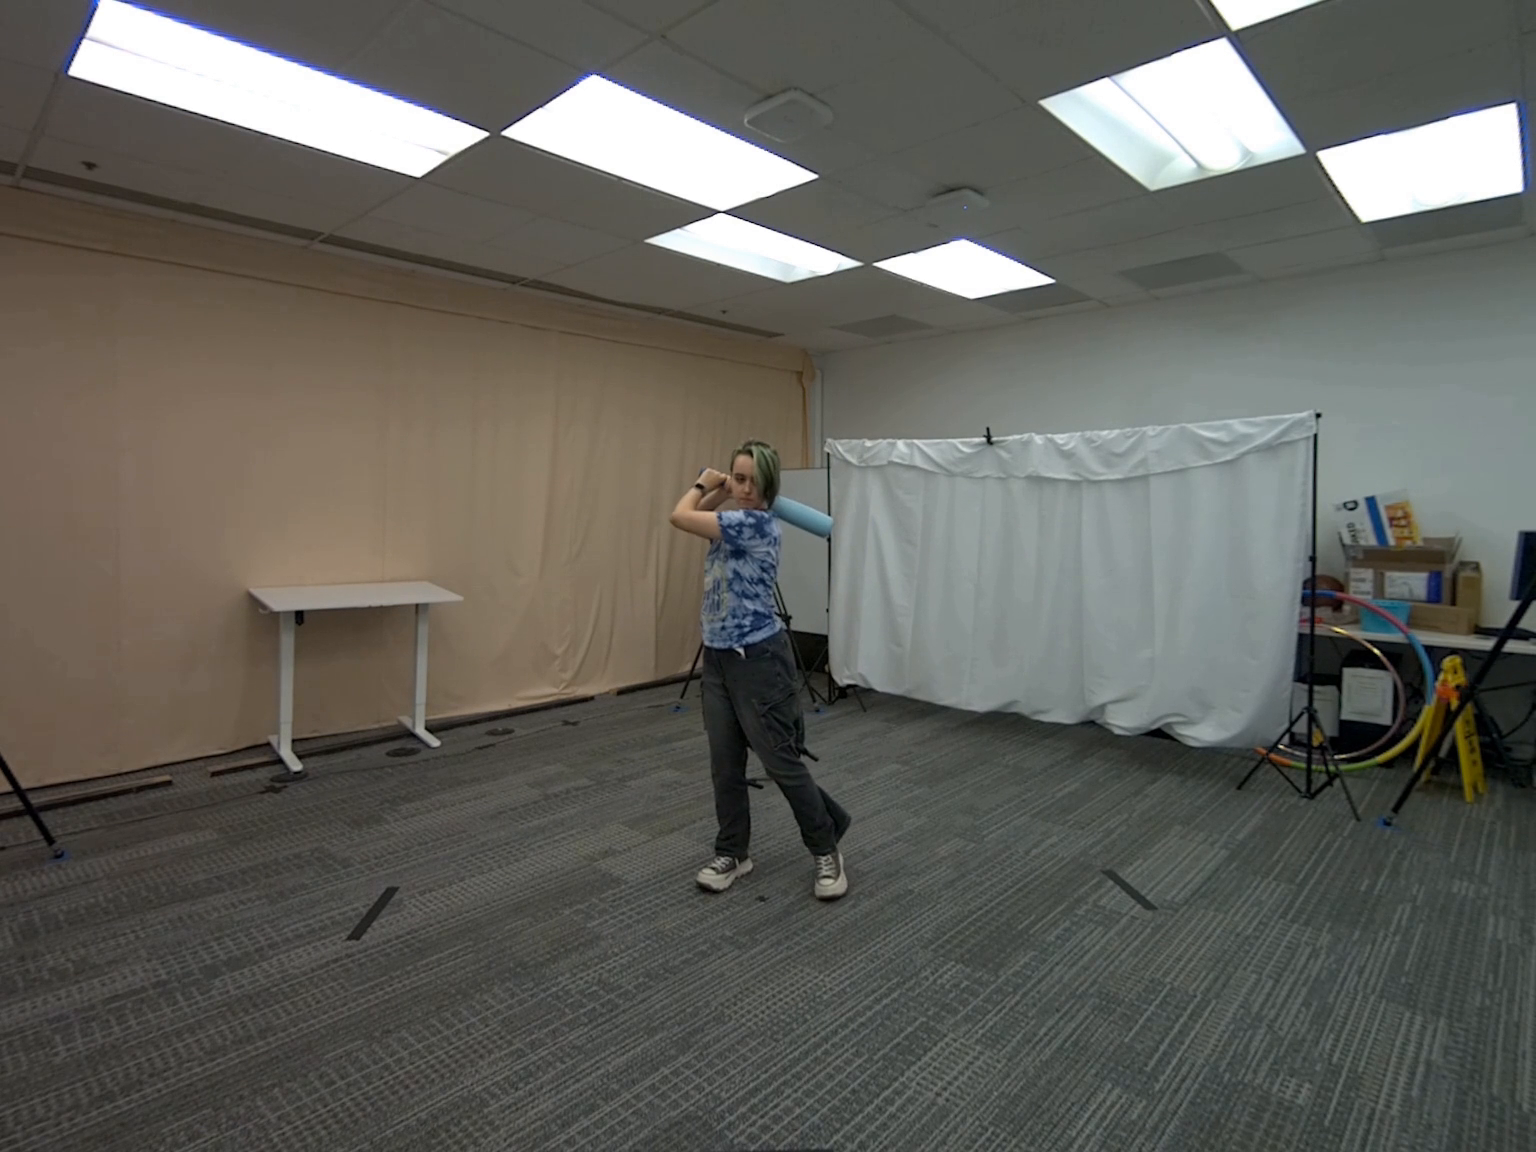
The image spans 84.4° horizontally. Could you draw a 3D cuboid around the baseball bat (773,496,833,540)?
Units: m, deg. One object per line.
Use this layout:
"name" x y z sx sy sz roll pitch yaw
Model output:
"baseball bat" -0.008 -0.282 3.201 0.542 0.089 0.089 23 3 -2
